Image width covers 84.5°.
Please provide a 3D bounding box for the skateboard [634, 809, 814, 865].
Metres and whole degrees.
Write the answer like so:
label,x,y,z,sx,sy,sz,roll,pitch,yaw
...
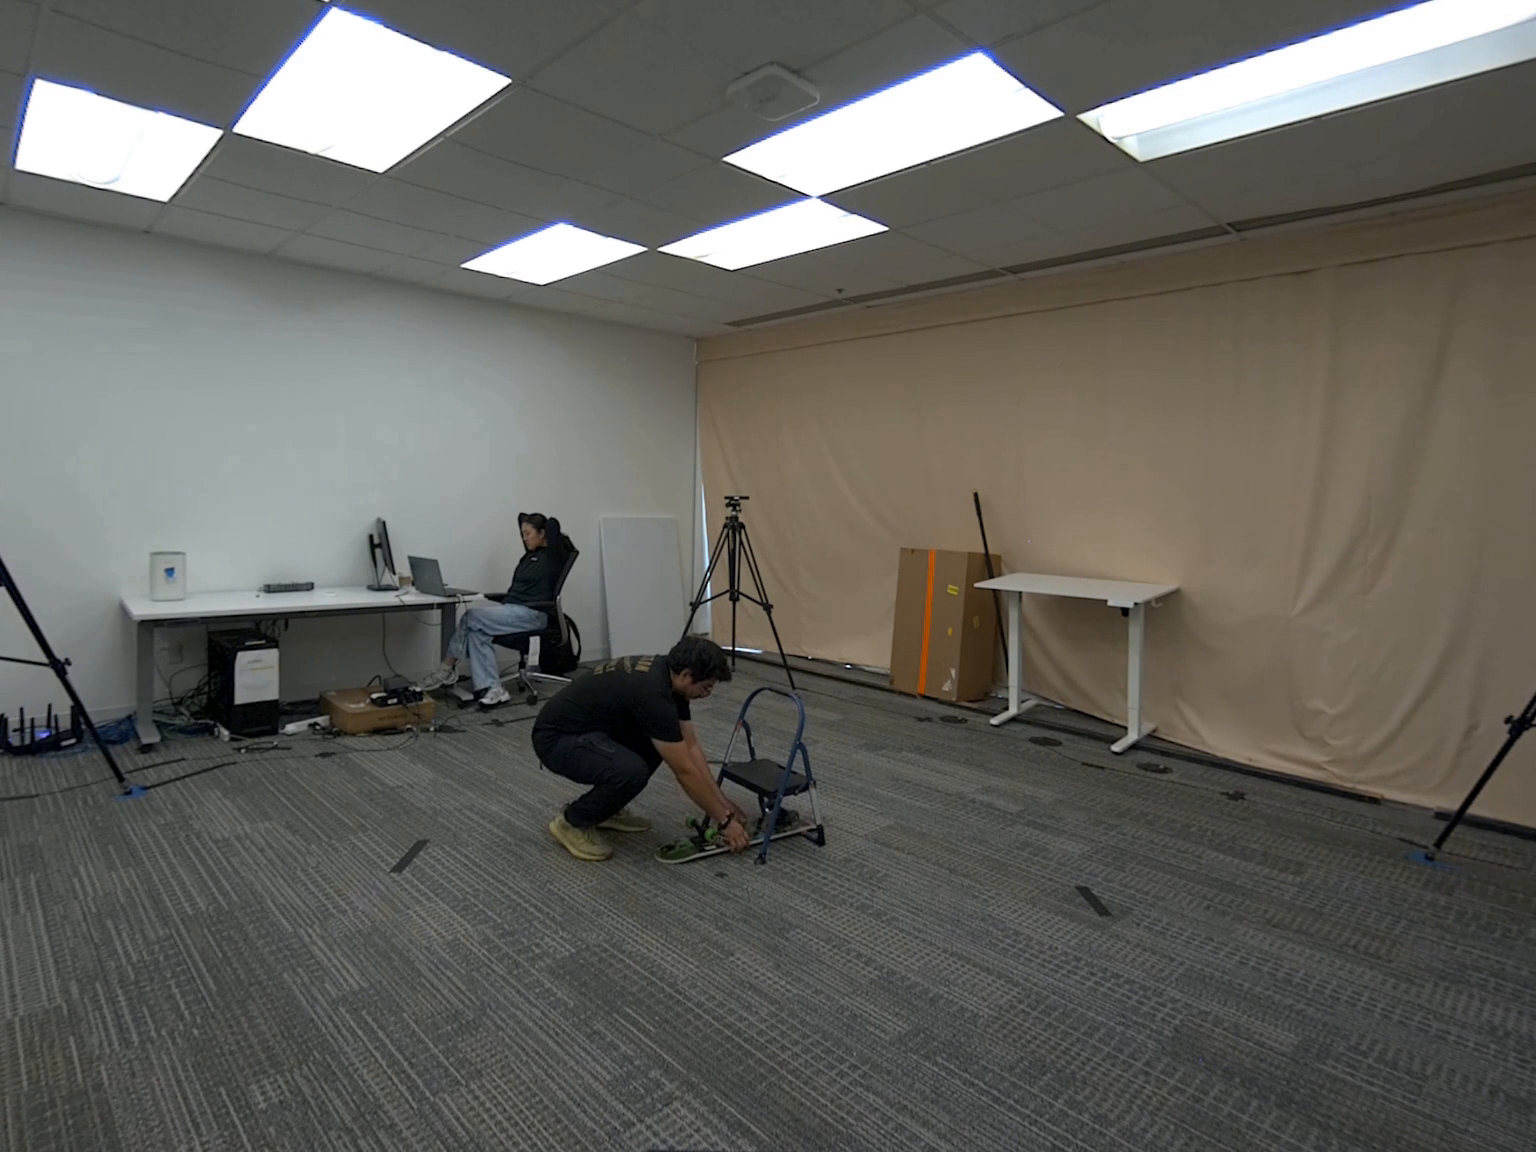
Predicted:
label,x,y,z,sx,sy,sz,roll,pitch,yaw
skateboard,-0.115,1.025,3.434,0.769,0.110,0.198,-3,6,-35
